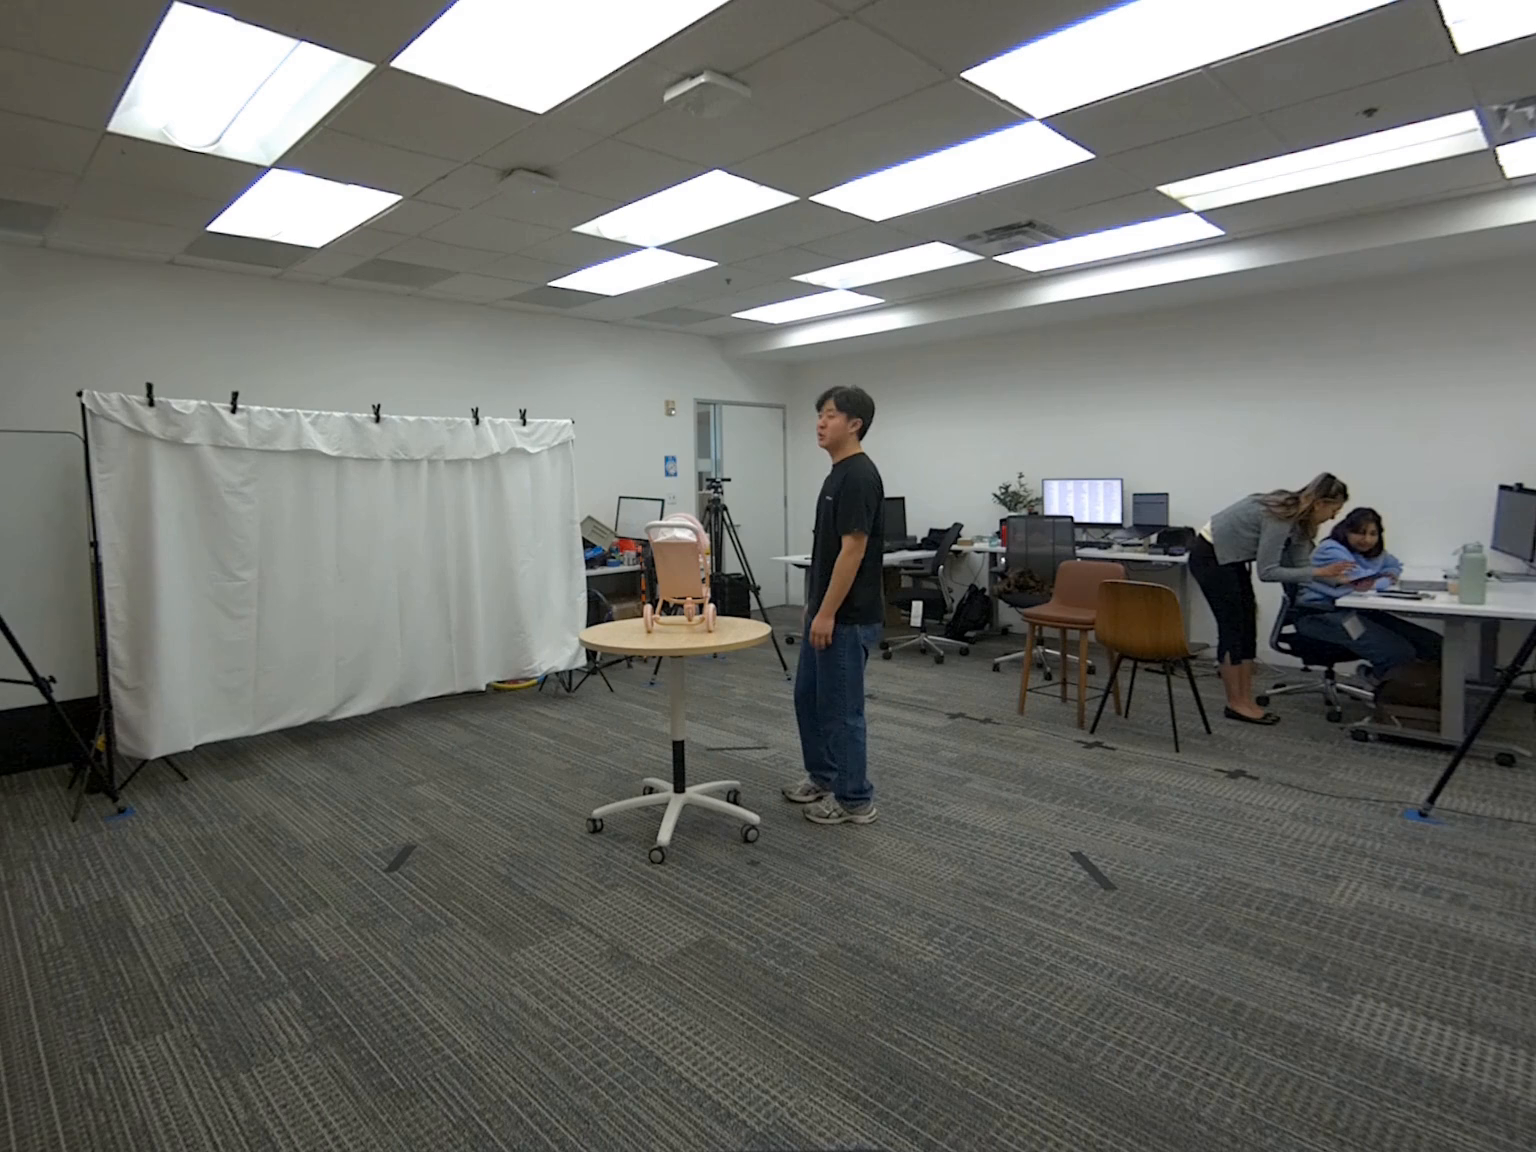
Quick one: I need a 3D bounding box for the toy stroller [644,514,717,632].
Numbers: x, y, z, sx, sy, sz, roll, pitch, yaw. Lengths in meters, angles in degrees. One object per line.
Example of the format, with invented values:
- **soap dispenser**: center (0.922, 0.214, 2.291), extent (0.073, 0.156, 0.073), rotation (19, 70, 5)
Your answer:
- **toy stroller**: center (-0.340, -0.013, 3.426), extent (0.284, 0.526, 0.344), rotation (0, 19, 8)
